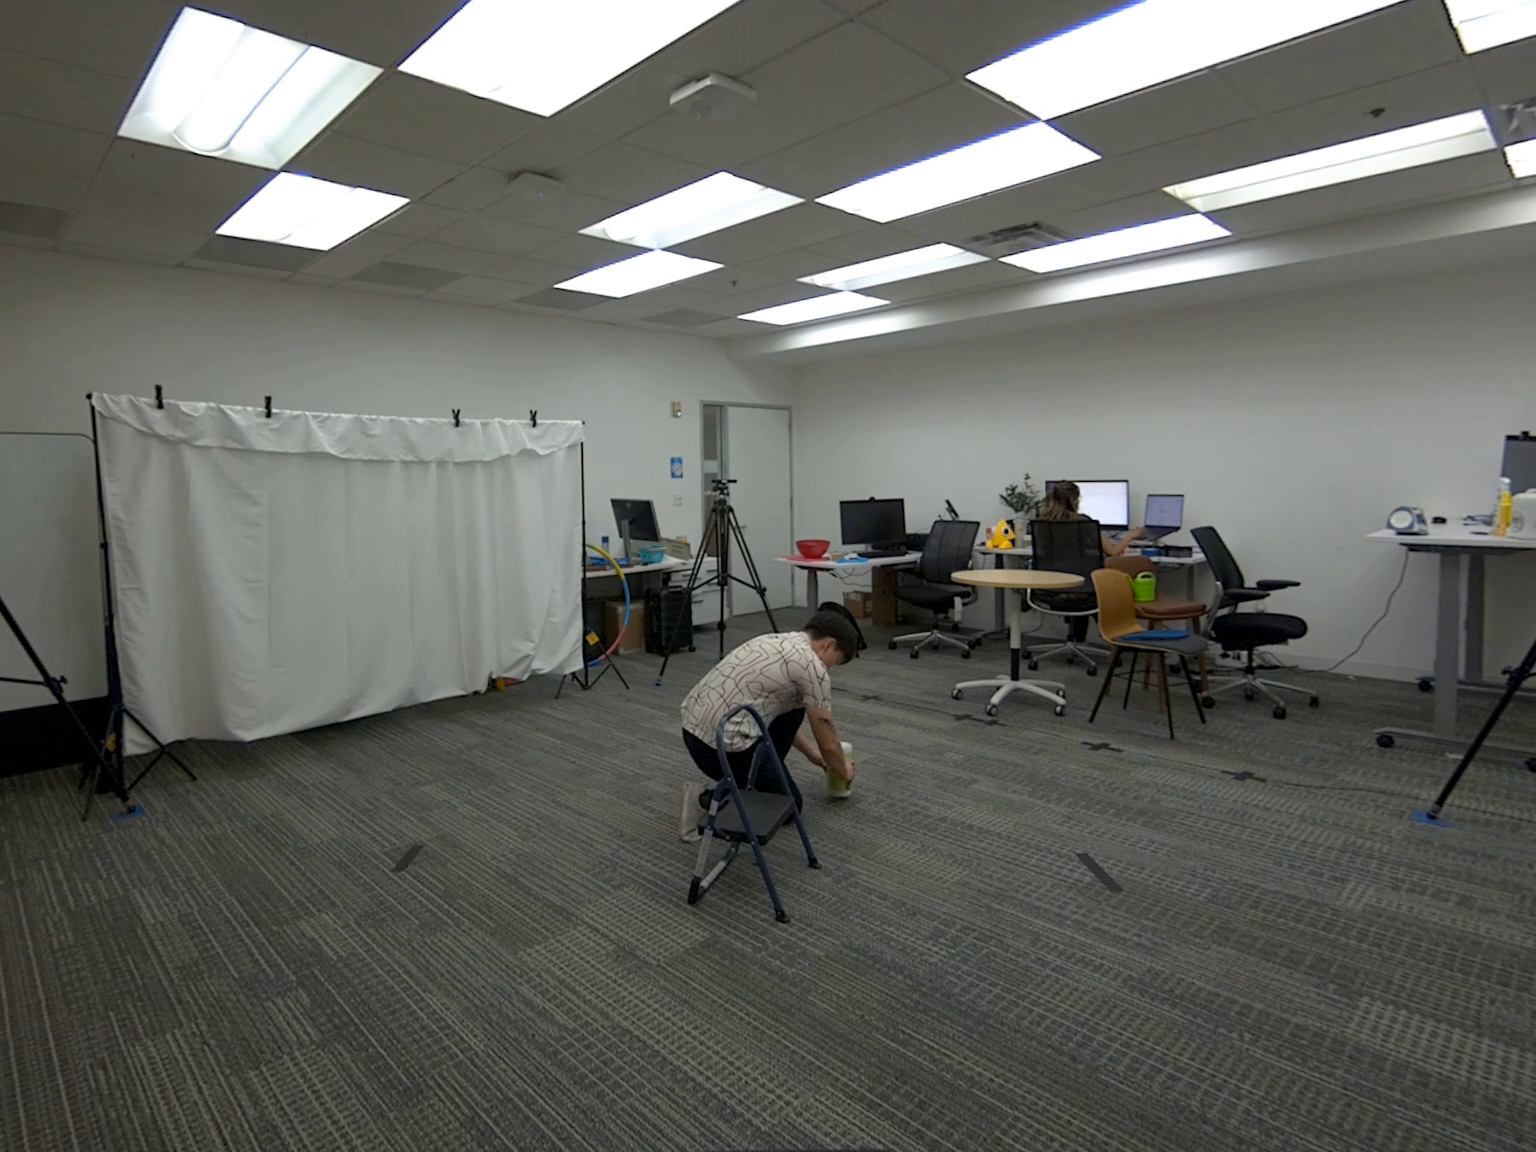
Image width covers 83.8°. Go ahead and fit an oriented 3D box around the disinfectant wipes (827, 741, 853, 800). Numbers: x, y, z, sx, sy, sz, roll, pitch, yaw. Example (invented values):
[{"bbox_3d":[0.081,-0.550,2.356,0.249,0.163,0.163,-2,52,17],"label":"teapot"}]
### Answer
[{"bbox_3d":[0.306,0.834,3.718,0.118,0.217,0.118,1,0,-2],"label":"disinfectant wipes"}]
